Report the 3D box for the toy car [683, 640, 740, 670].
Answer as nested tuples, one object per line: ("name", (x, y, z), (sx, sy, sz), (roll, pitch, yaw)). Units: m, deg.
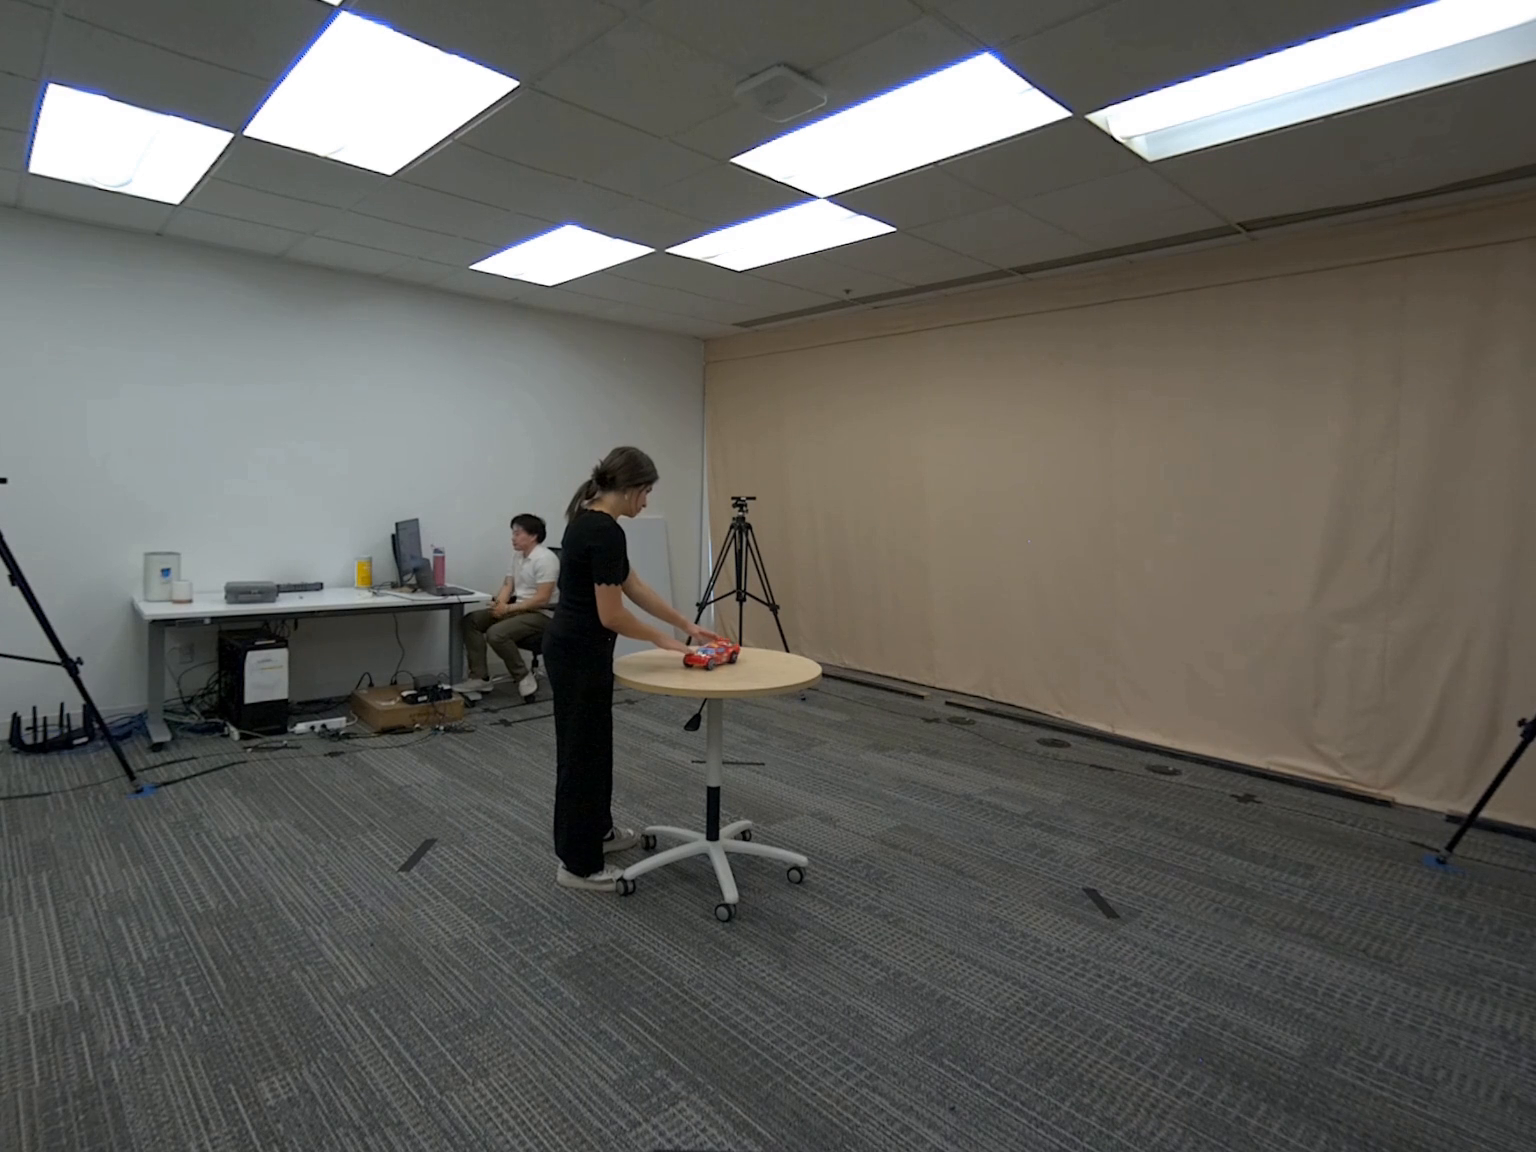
("toy car", (-0.201, 0.293, 3.067), (0.133, 0.082, 0.252), (3, 17, 31))
